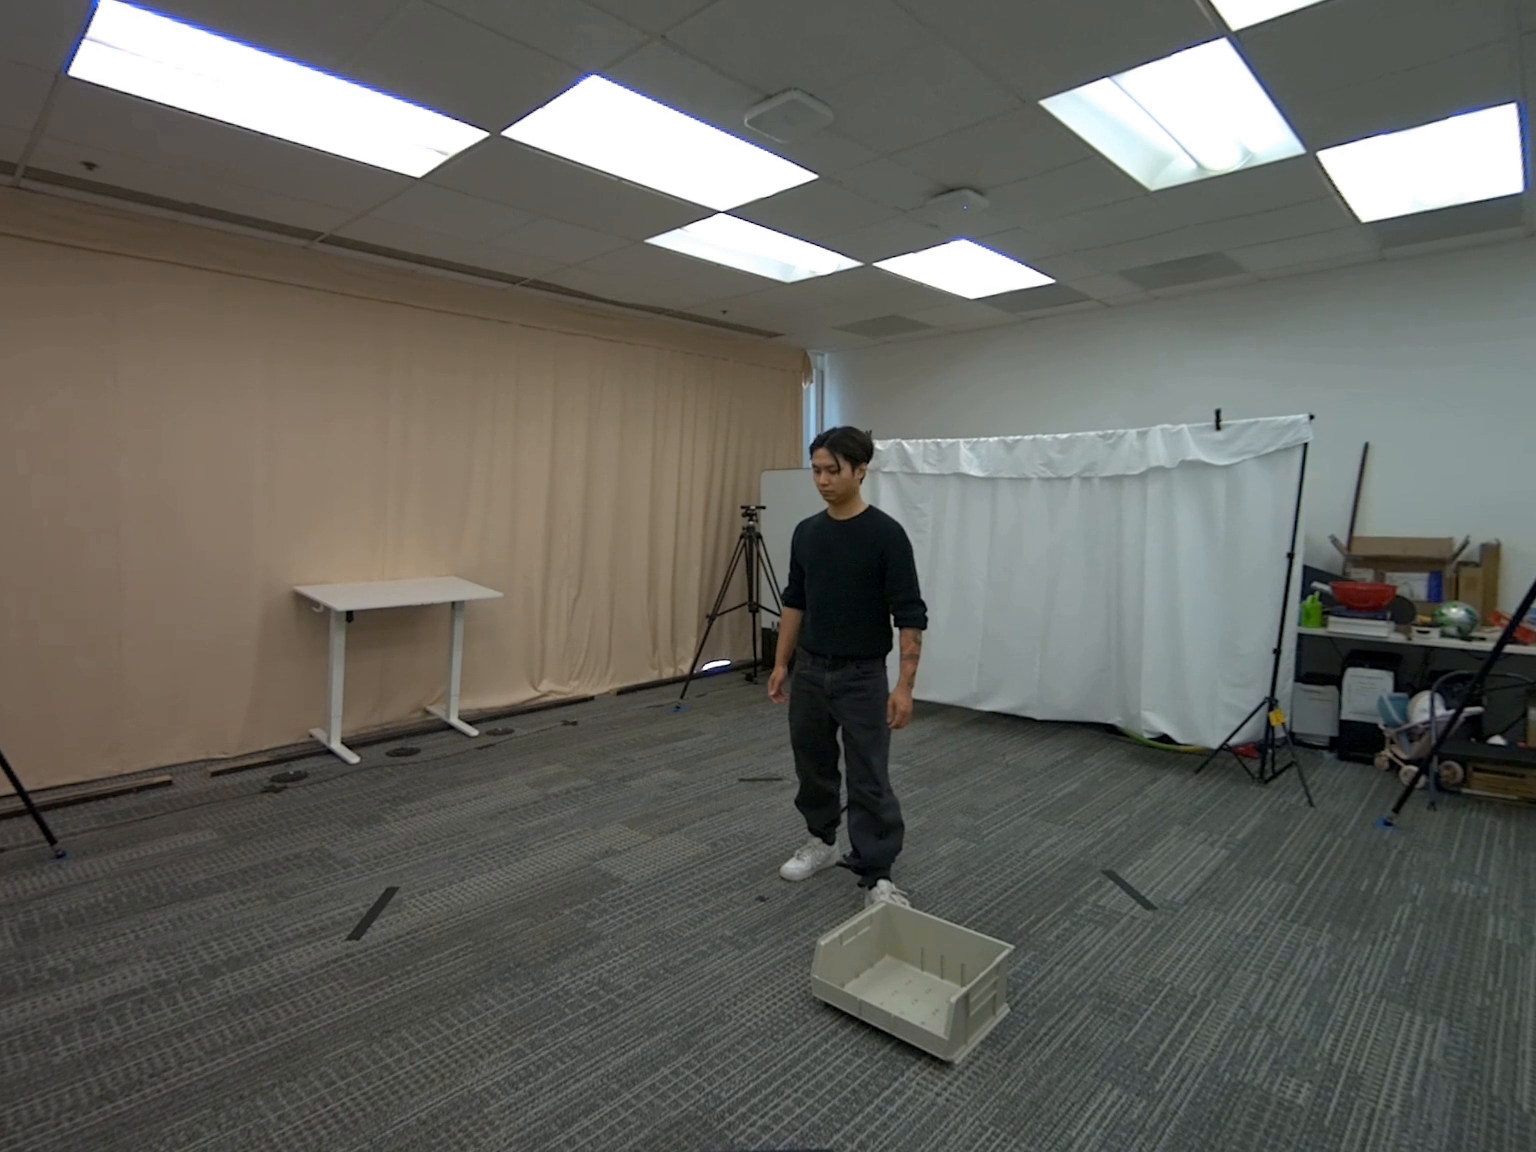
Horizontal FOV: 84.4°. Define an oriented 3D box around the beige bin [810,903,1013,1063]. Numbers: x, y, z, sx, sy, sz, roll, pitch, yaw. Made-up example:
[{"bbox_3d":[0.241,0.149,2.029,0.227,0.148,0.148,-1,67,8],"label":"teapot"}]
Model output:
[{"bbox_3d":[0.398,1.105,2.329,0.436,0.188,0.366,3,4,41],"label":"beige bin"}]
